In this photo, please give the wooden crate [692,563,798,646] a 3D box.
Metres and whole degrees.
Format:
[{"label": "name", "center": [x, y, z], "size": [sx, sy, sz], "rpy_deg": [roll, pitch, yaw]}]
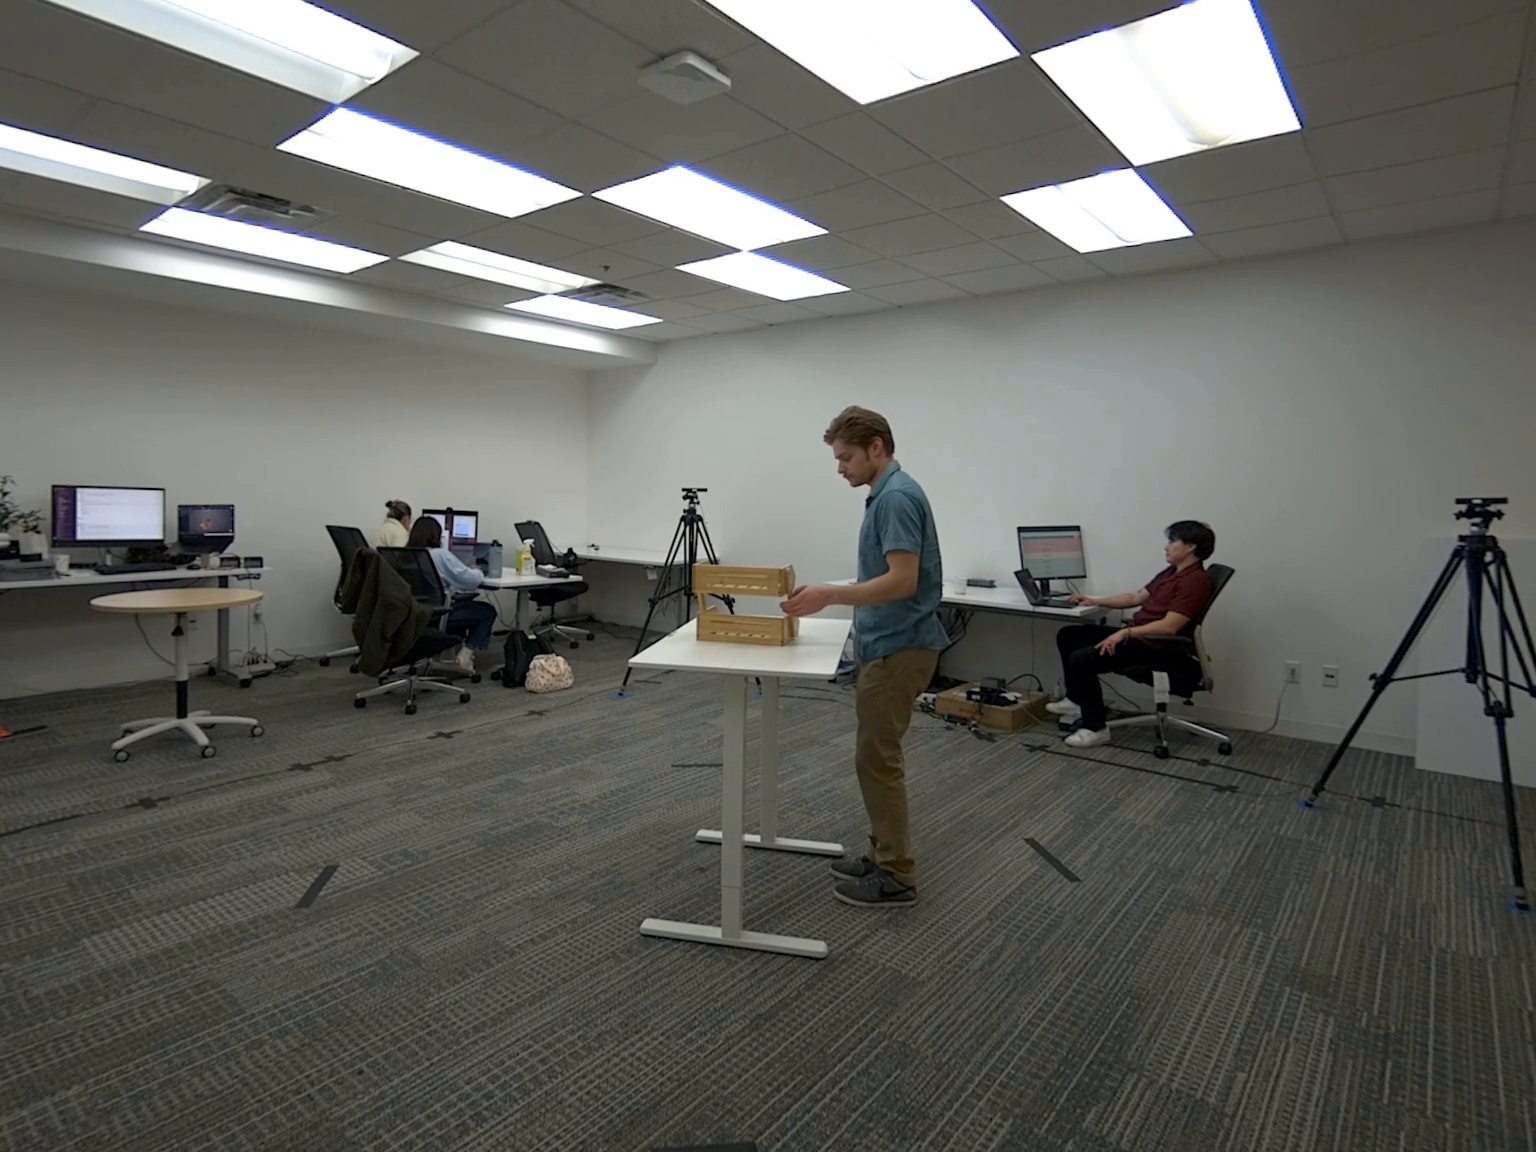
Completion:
[{"label": "wooden crate", "center": [-0.077, 0.079, 2.900], "size": [0.330, 0.272, 0.298], "rpy_deg": [3, 5, 15]}]
